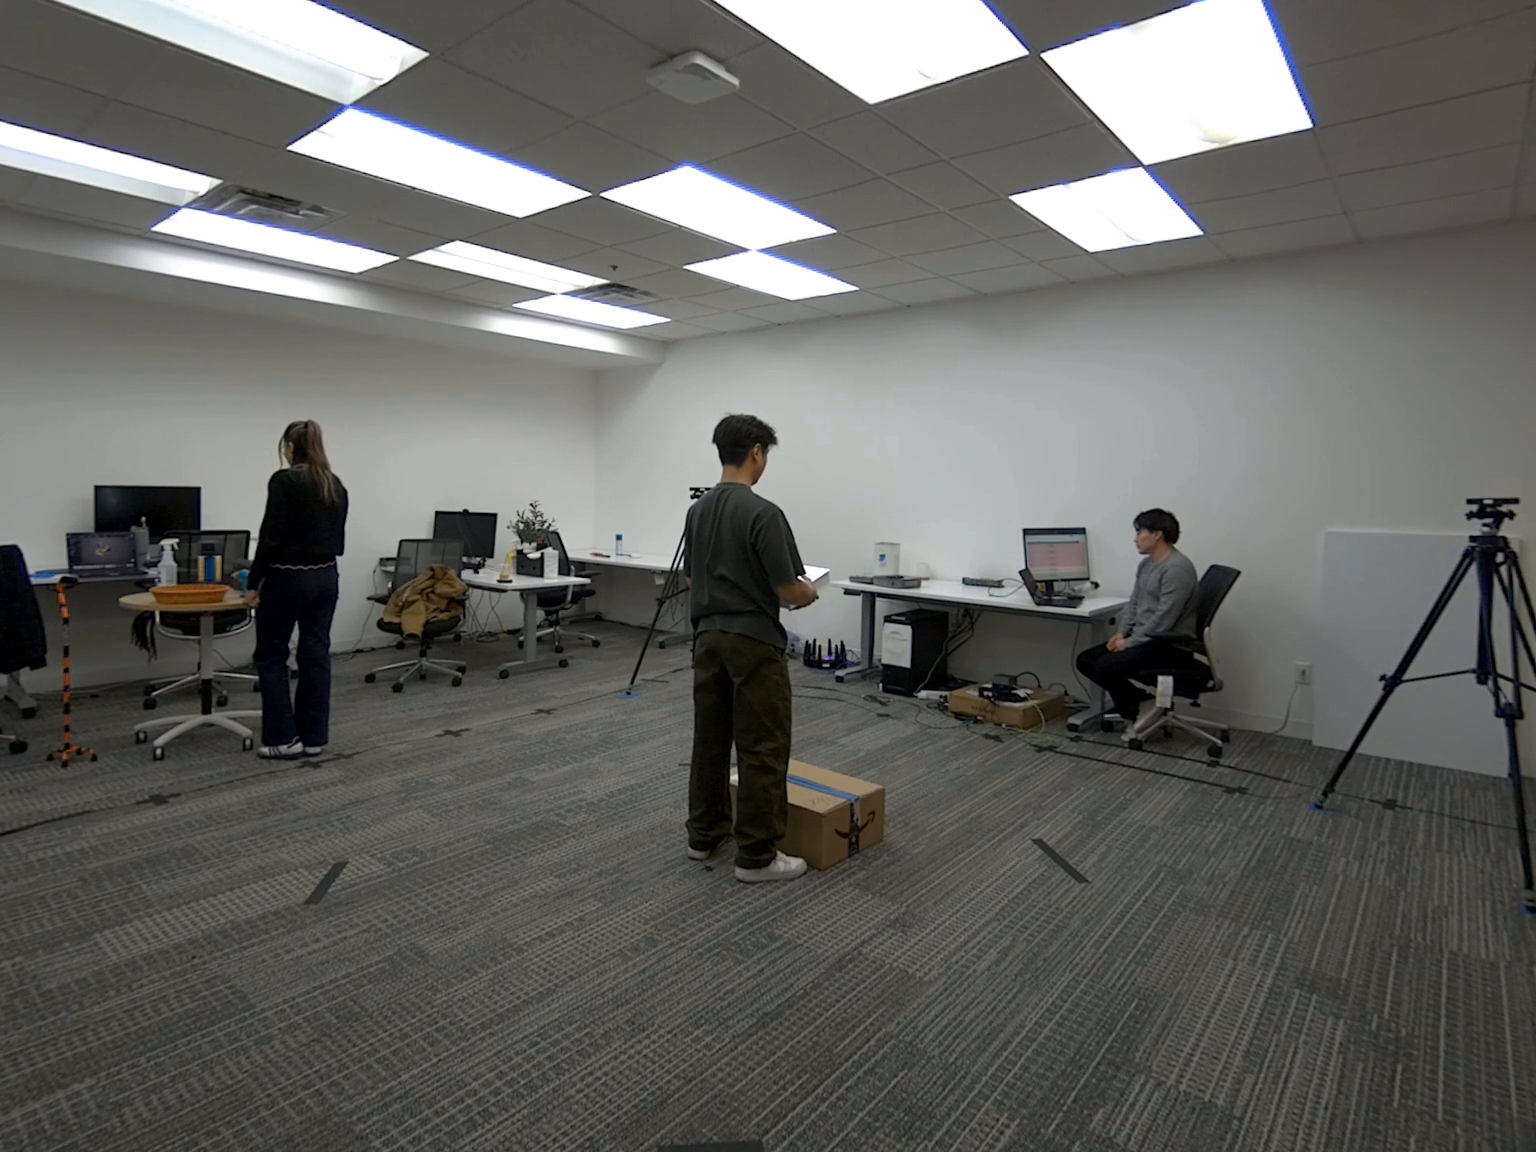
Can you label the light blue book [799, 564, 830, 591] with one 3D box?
[{"bbox_3d":[0.096,0.032,3.337,0.198,0.058,0.257,14,30,42],"label":"light blue book"}]
